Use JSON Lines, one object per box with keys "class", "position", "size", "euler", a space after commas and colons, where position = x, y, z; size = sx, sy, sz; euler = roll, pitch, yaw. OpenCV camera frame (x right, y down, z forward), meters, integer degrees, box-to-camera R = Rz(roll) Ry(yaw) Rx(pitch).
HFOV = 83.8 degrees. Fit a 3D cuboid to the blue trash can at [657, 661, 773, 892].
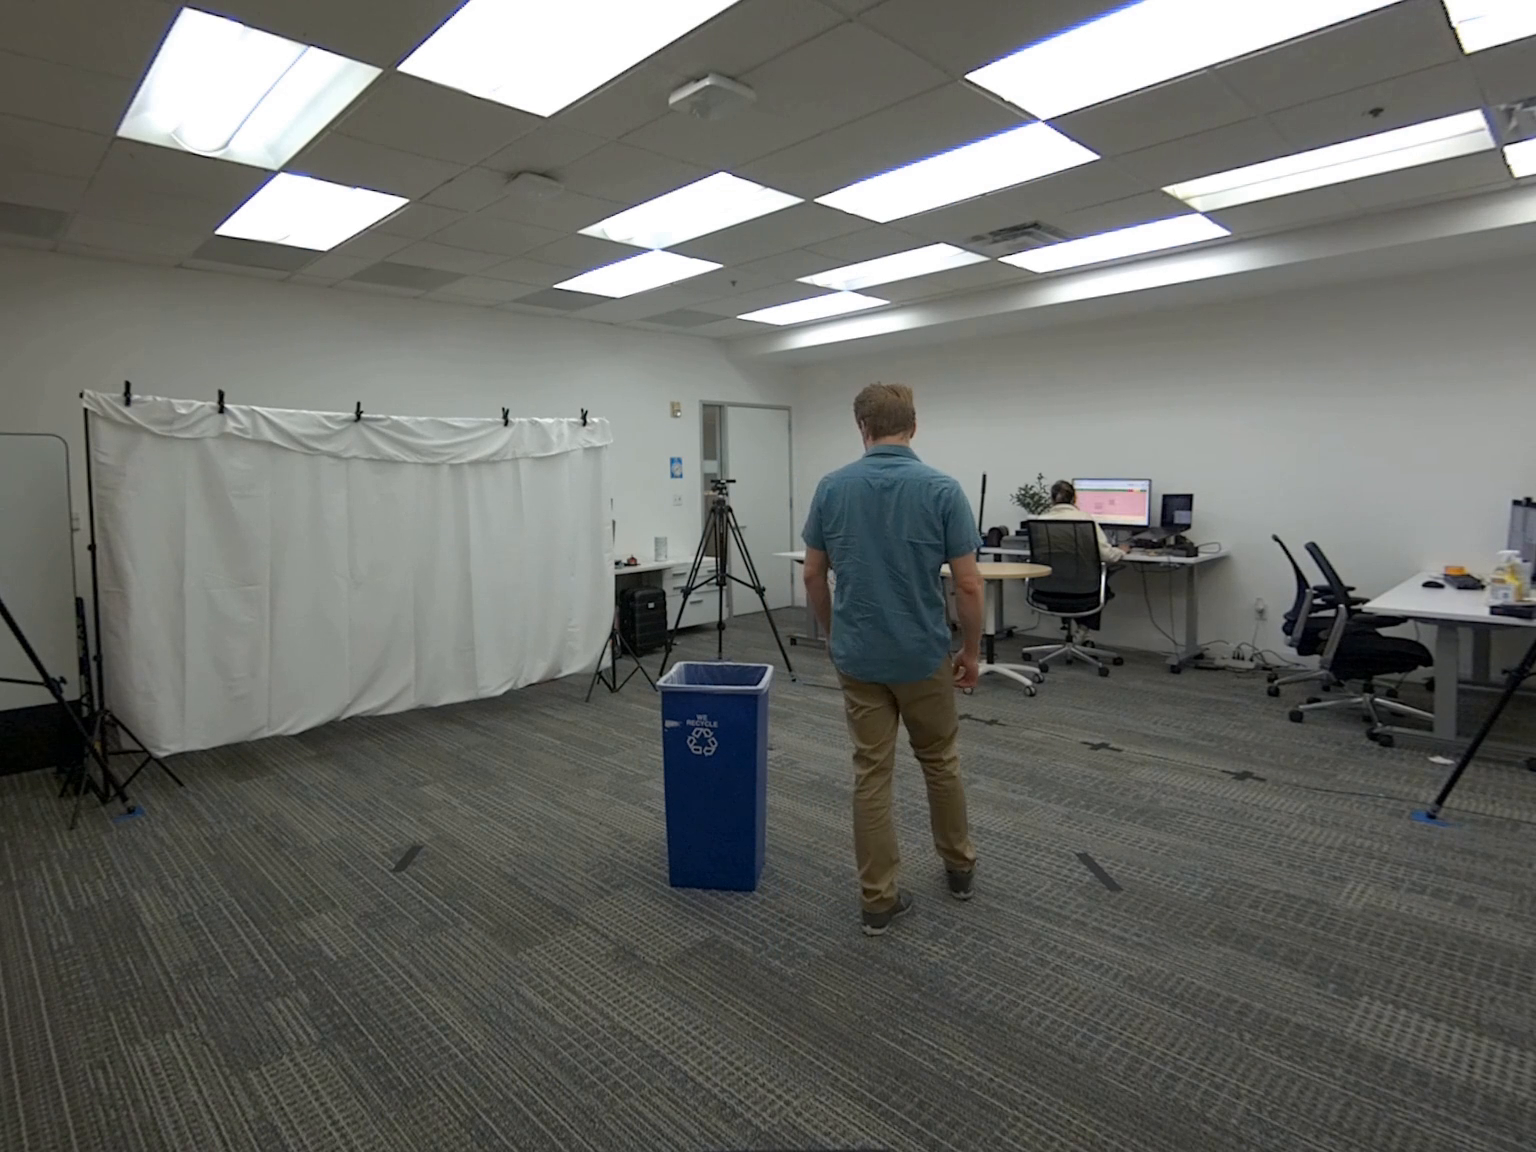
{"class": "blue trash can", "position": [-0.167, 0.699, 3.045], "size": [0.377, 0.711, 0.376], "euler": [0, 5, 8]}
